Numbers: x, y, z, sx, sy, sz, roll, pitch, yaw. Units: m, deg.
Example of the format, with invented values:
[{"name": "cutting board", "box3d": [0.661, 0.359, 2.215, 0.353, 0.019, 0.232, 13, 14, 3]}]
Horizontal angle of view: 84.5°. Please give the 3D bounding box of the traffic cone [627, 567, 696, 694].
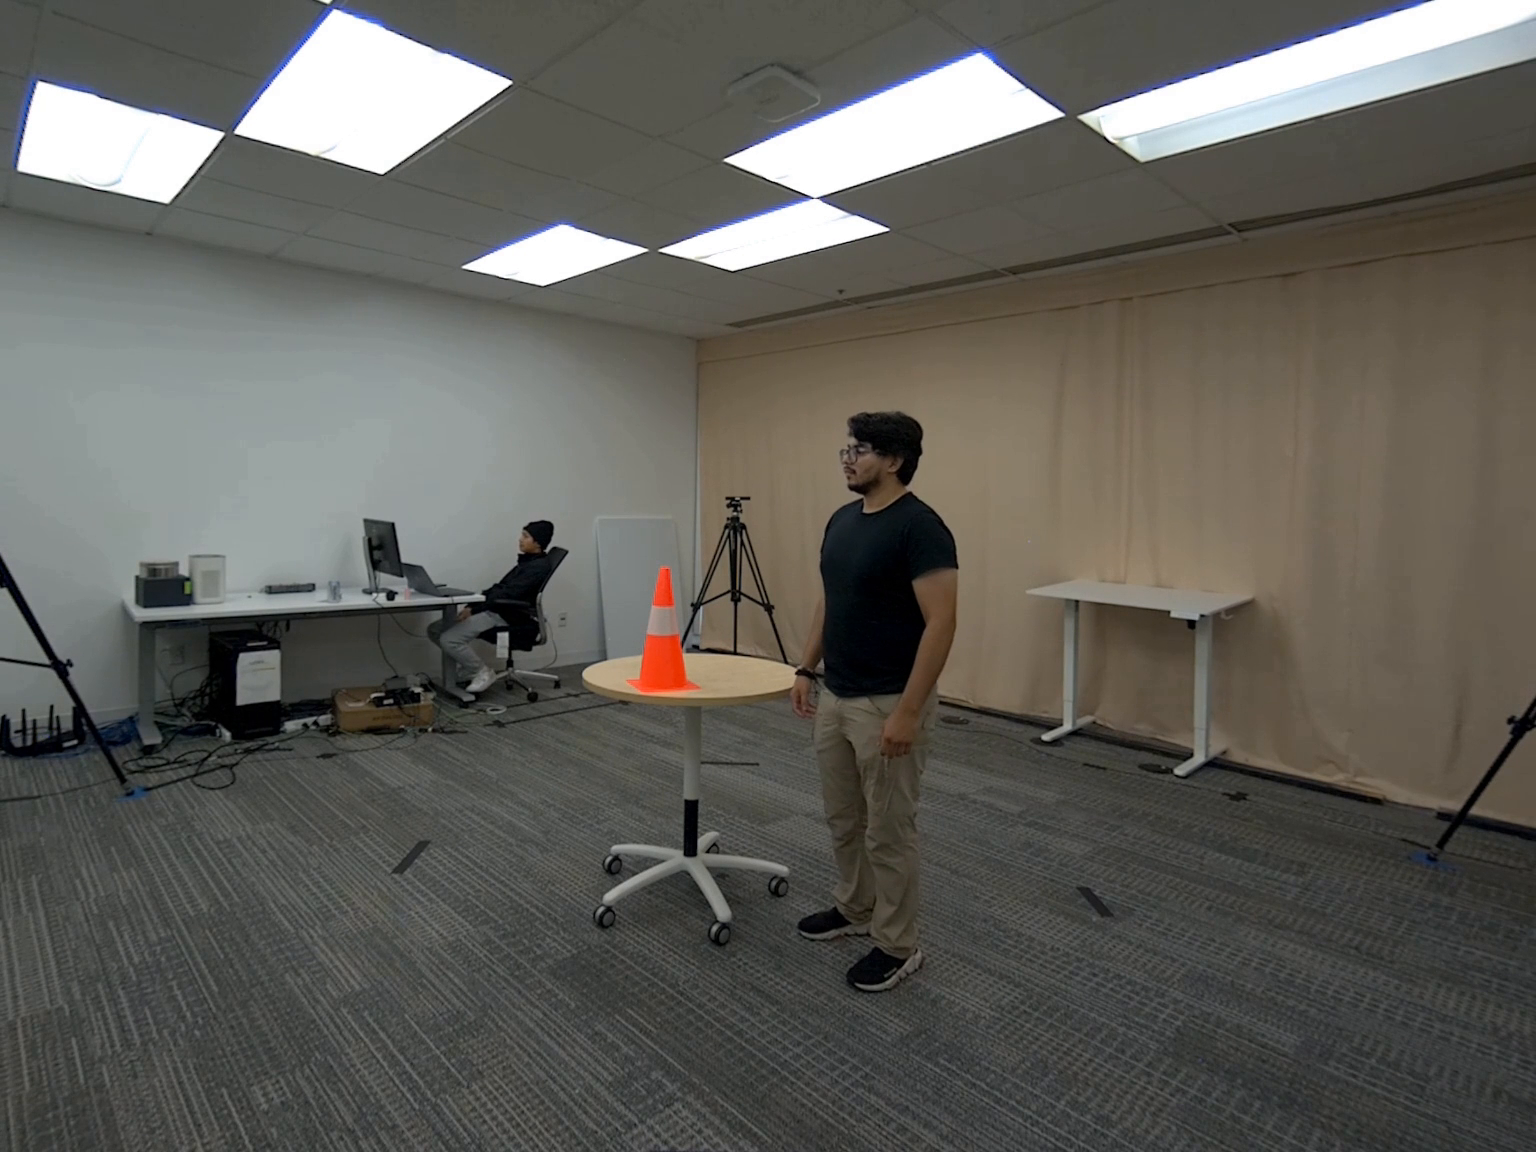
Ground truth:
[{"name": "traffic cone", "box3d": [-0.337, 0.167, 2.703, 0.201, 0.383, 0.208, 1, 2, -29]}]
